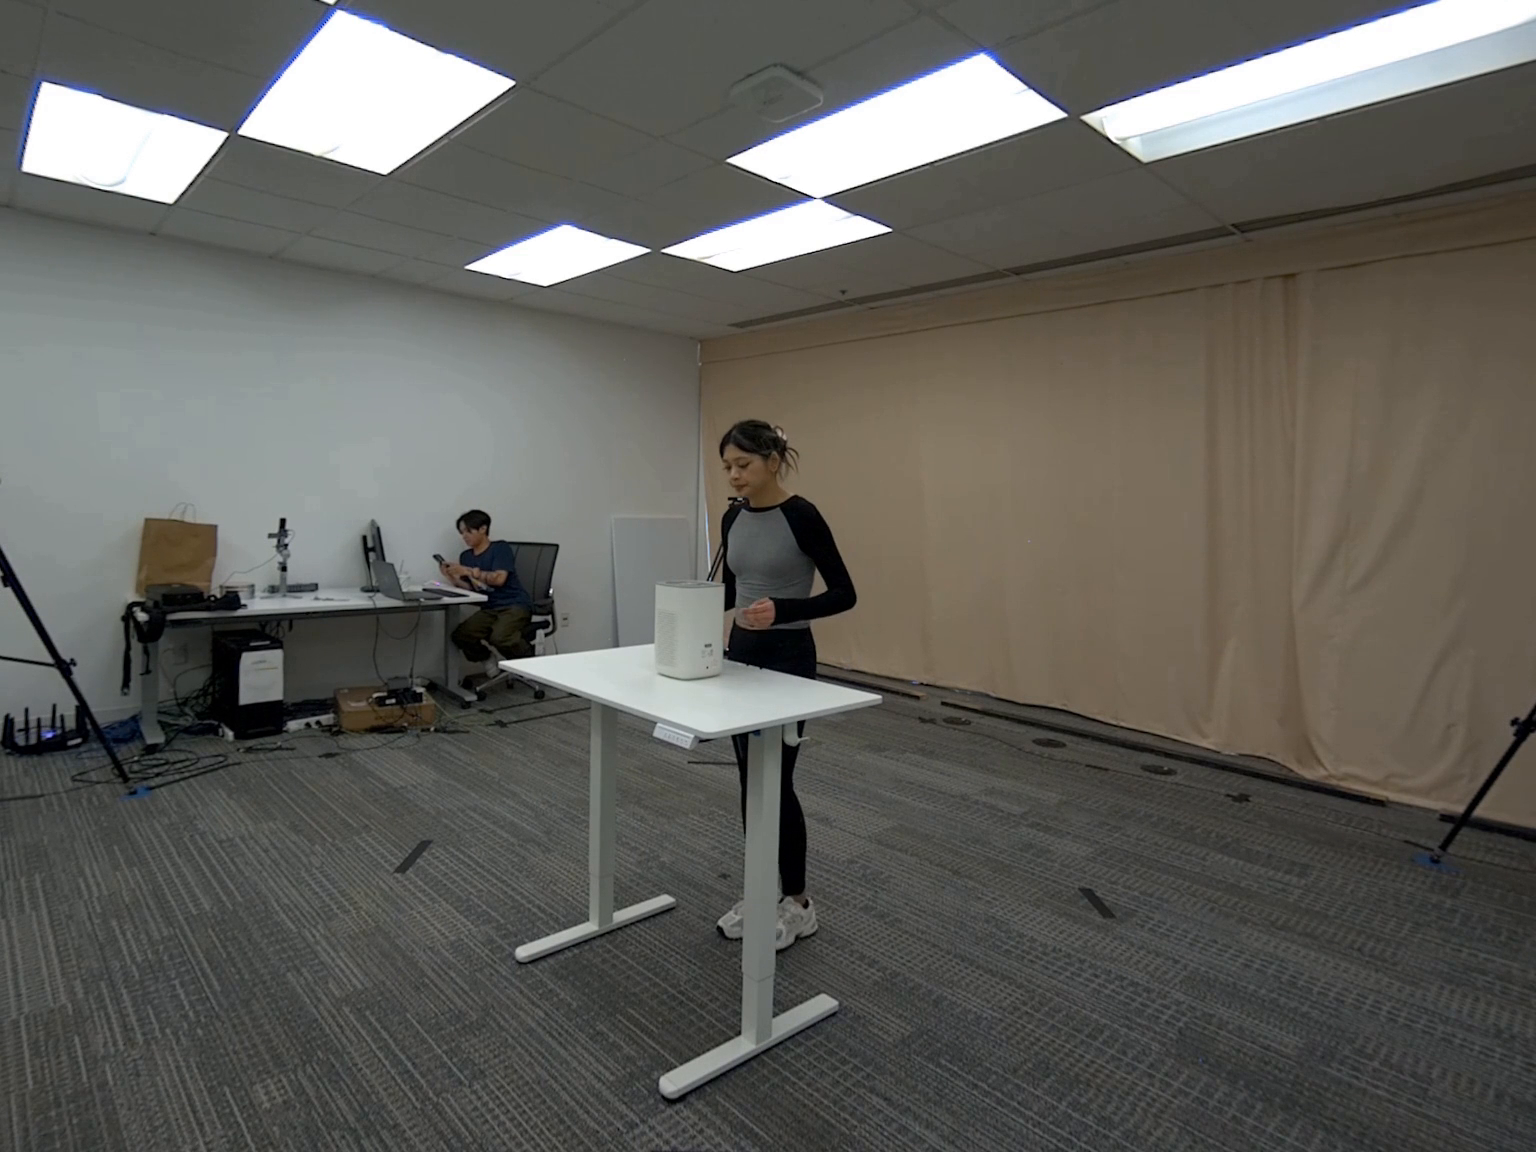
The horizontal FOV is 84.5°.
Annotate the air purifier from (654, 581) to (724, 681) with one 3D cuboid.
[{"bbox_3d":[-0.231,0.155,2.419,0.167,0.265,0.176,-1,3,-44],"label":"air purifier"}]
